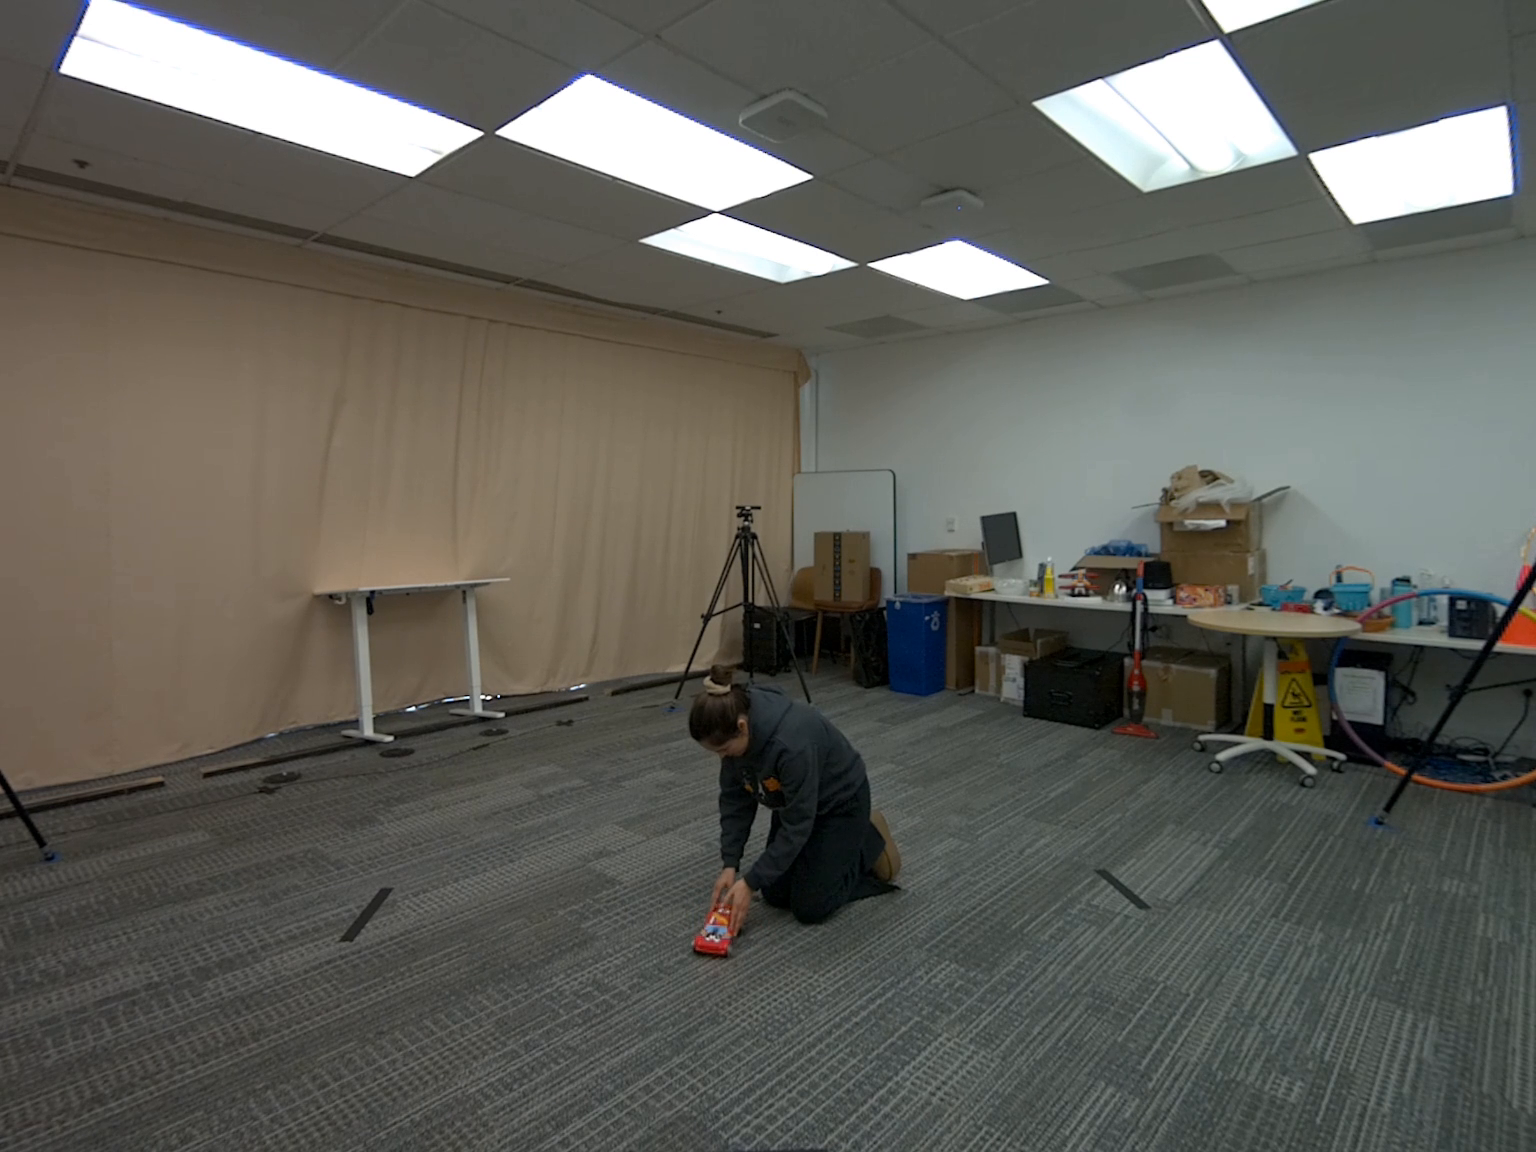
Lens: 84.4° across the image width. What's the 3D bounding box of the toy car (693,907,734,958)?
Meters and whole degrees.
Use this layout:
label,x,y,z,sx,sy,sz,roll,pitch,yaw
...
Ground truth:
label,x,y,z,sx,sy,sz,roll,pitch,yaw
toy car,-0.132,1.138,2.703,0.132,0.082,0.253,0,15,14
